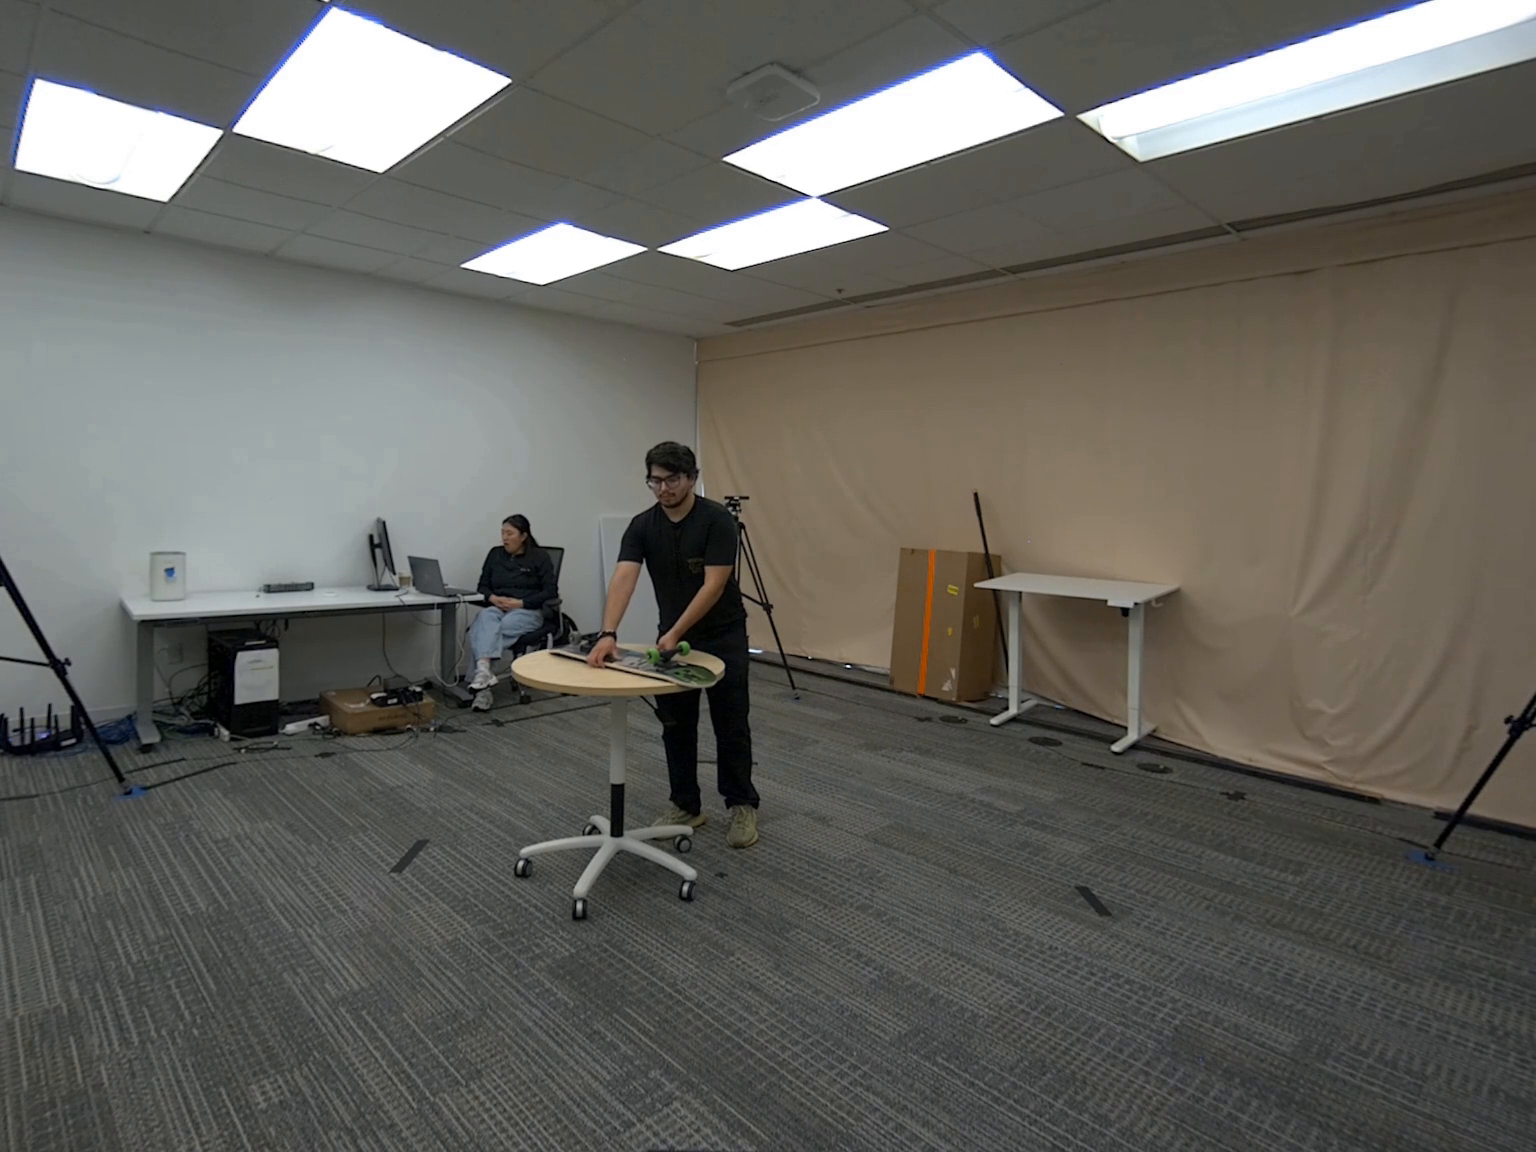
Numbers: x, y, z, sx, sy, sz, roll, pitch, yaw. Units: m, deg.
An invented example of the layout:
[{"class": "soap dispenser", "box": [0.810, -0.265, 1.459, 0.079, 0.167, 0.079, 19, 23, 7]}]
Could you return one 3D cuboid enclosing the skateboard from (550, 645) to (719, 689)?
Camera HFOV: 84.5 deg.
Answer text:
[{"class": "skateboard", "box": [-0.517, 0.277, 3.020, 0.806, 0.110, 0.189, 7, 7, 41]}]
